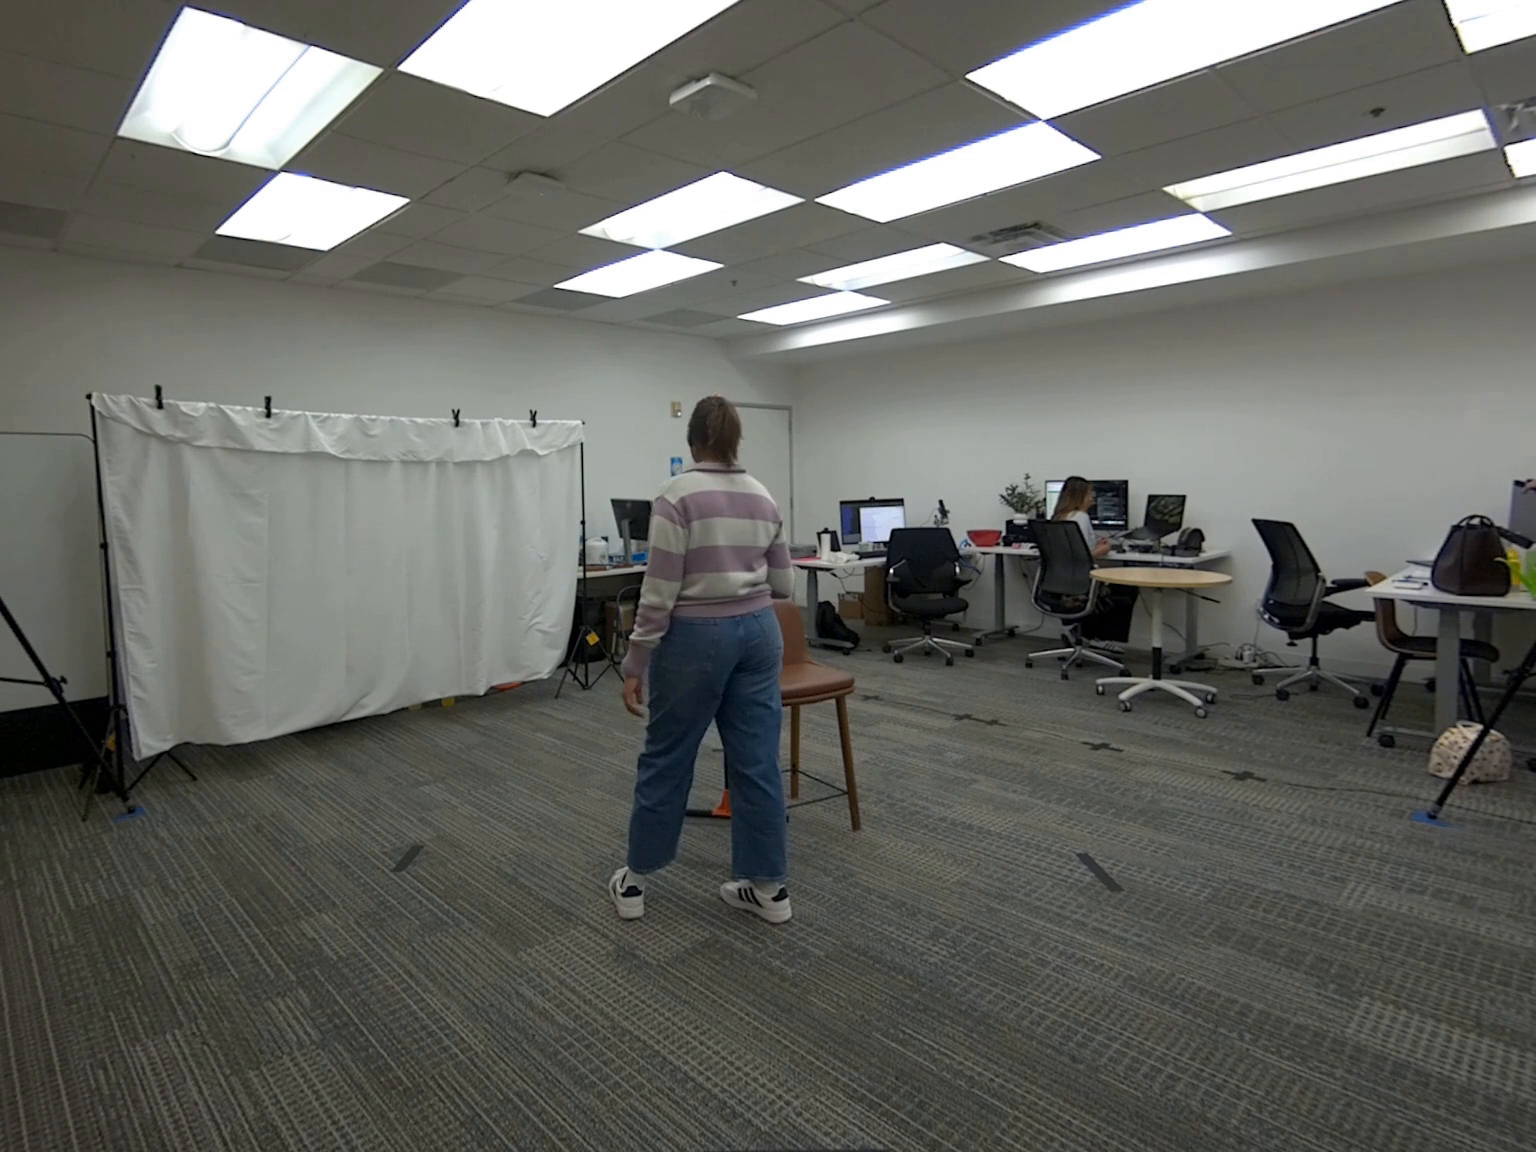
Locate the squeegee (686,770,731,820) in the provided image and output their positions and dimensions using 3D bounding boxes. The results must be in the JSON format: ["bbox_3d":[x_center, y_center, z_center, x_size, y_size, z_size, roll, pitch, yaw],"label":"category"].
[{"bbox_3d":[-0.155,0.124,3.059,0.428,1.535,0.054,-3,2,-24],"label":"squeegee"}]
